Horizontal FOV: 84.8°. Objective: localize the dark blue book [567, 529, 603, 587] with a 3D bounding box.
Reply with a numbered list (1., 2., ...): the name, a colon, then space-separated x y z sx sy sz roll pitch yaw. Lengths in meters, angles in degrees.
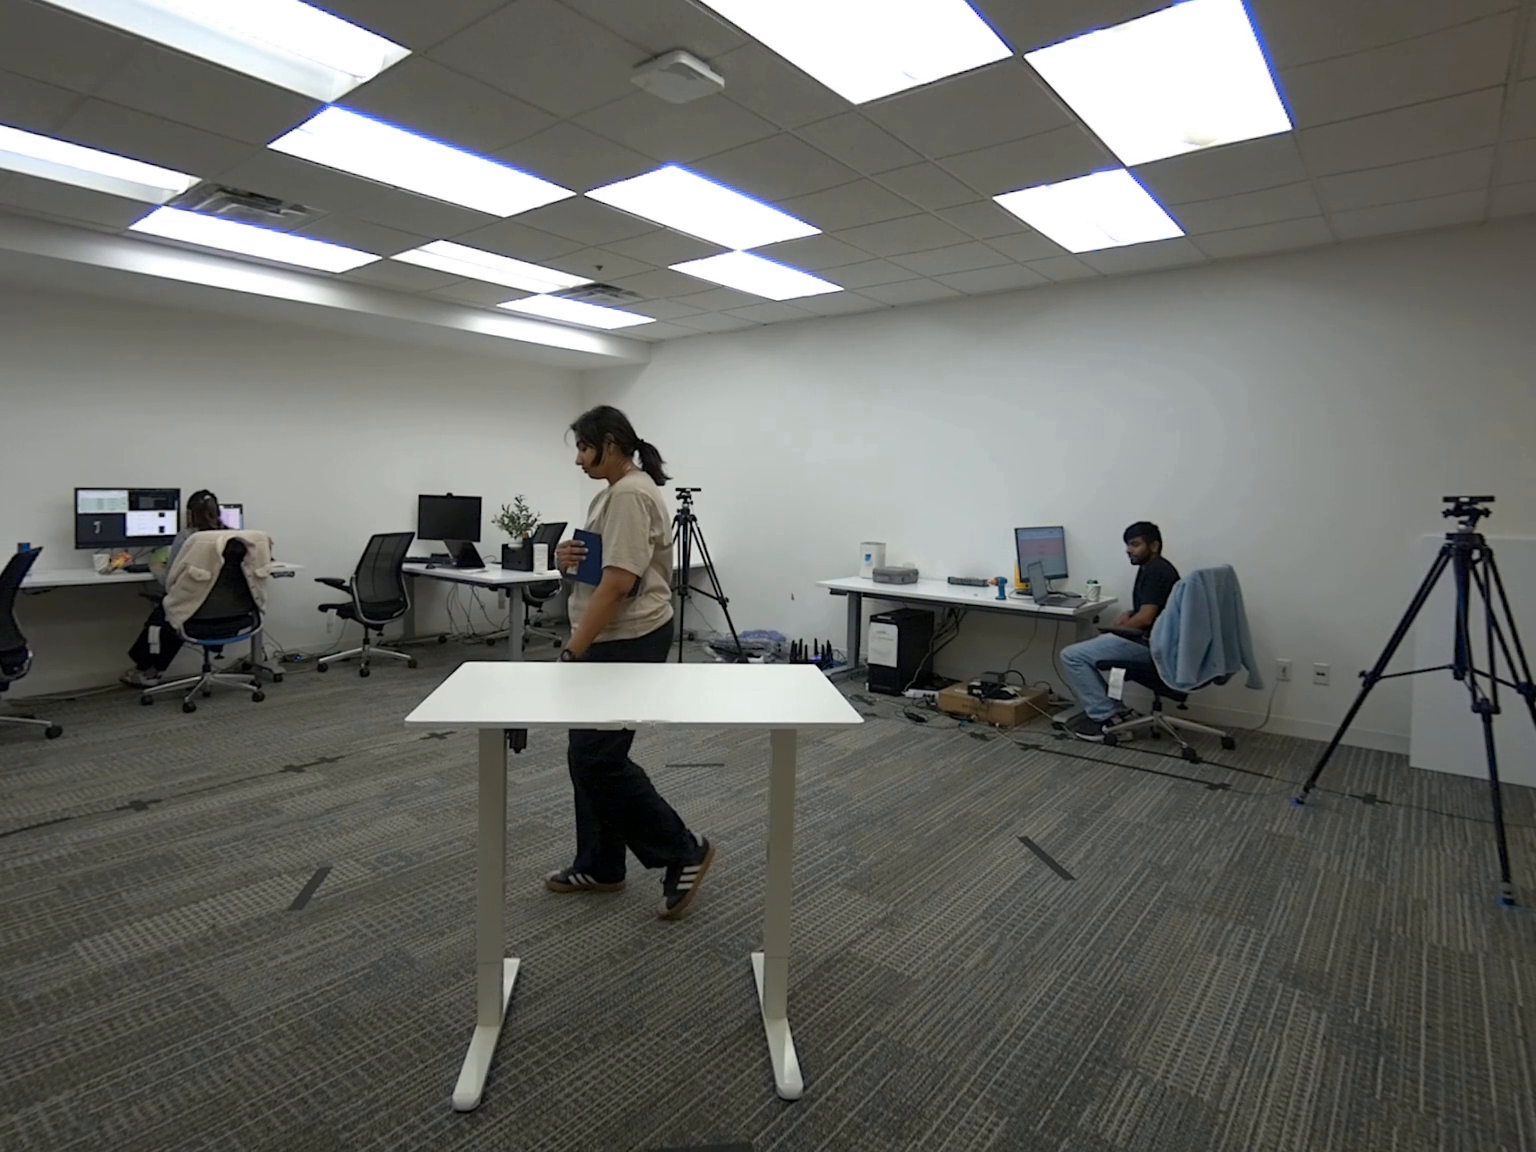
1. dark blue book: -0.533 -0.056 2.731 0.246 0.163 0.045 12 -1 4
